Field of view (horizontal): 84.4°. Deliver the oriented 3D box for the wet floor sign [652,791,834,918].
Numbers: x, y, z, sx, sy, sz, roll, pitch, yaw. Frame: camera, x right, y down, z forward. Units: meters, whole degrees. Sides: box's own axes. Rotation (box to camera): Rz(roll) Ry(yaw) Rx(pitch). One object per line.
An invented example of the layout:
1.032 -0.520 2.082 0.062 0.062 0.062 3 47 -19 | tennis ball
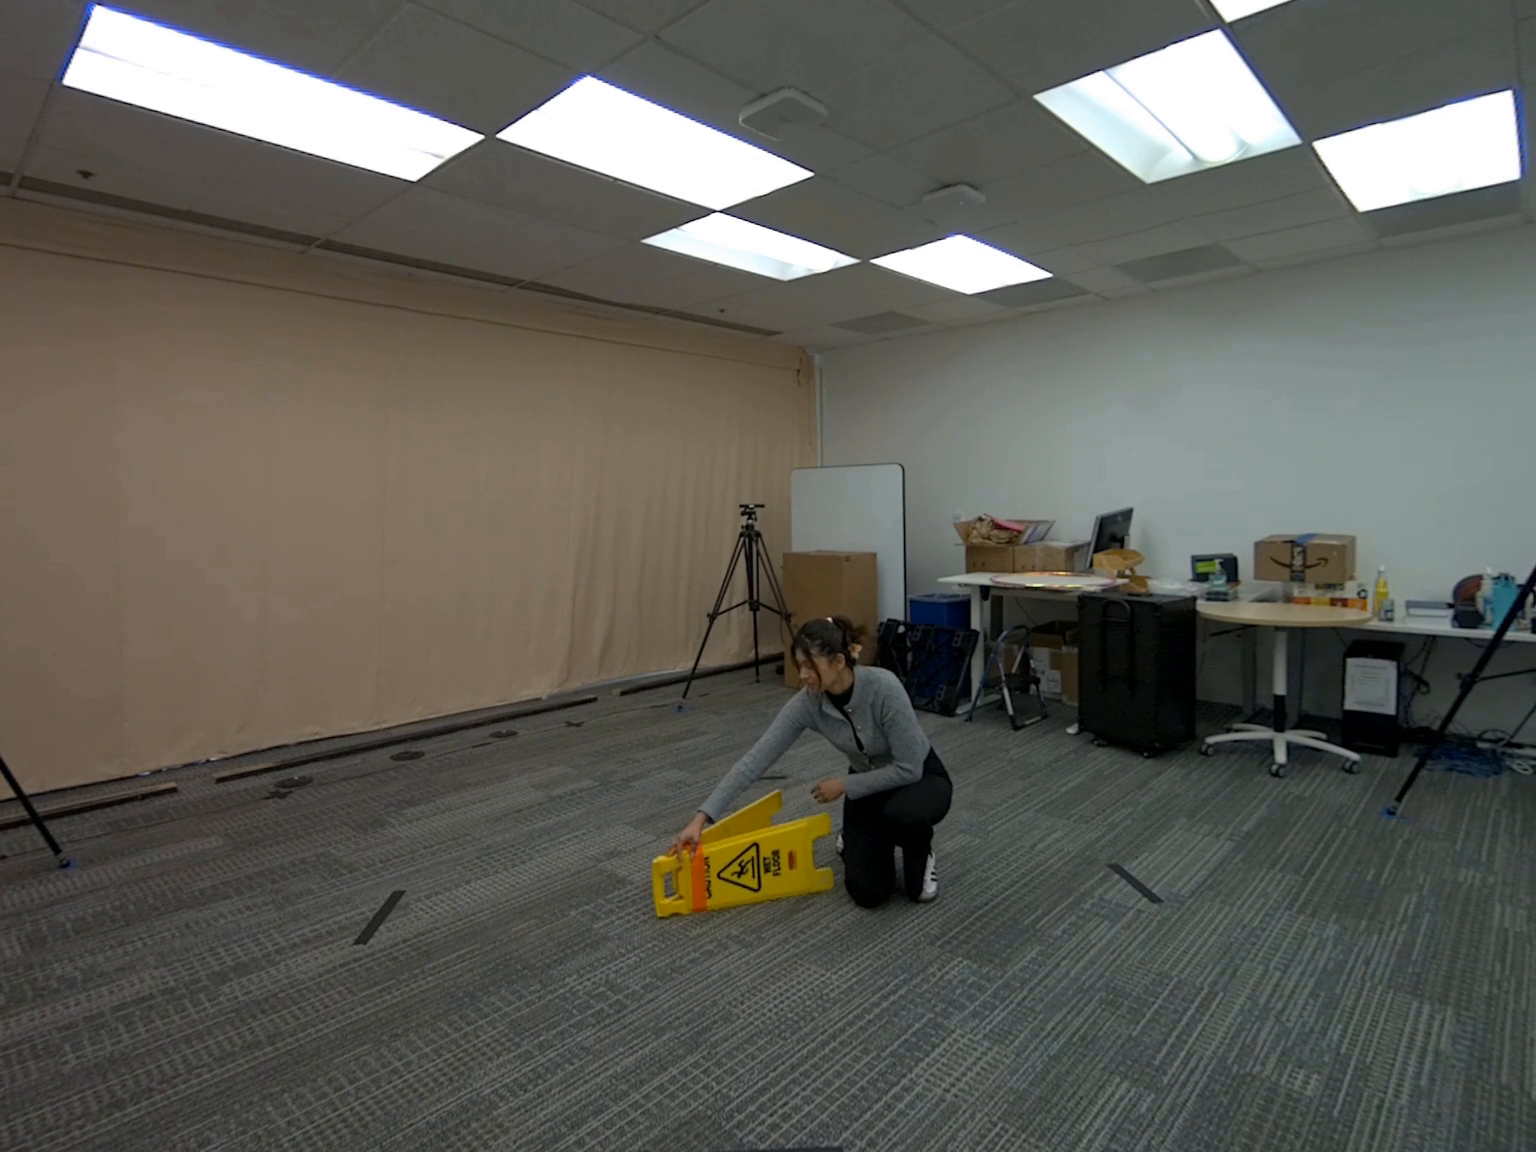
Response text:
-0.120 1.018 3.004 0.629 0.281 0.298 -7 7 -32 | wet floor sign
